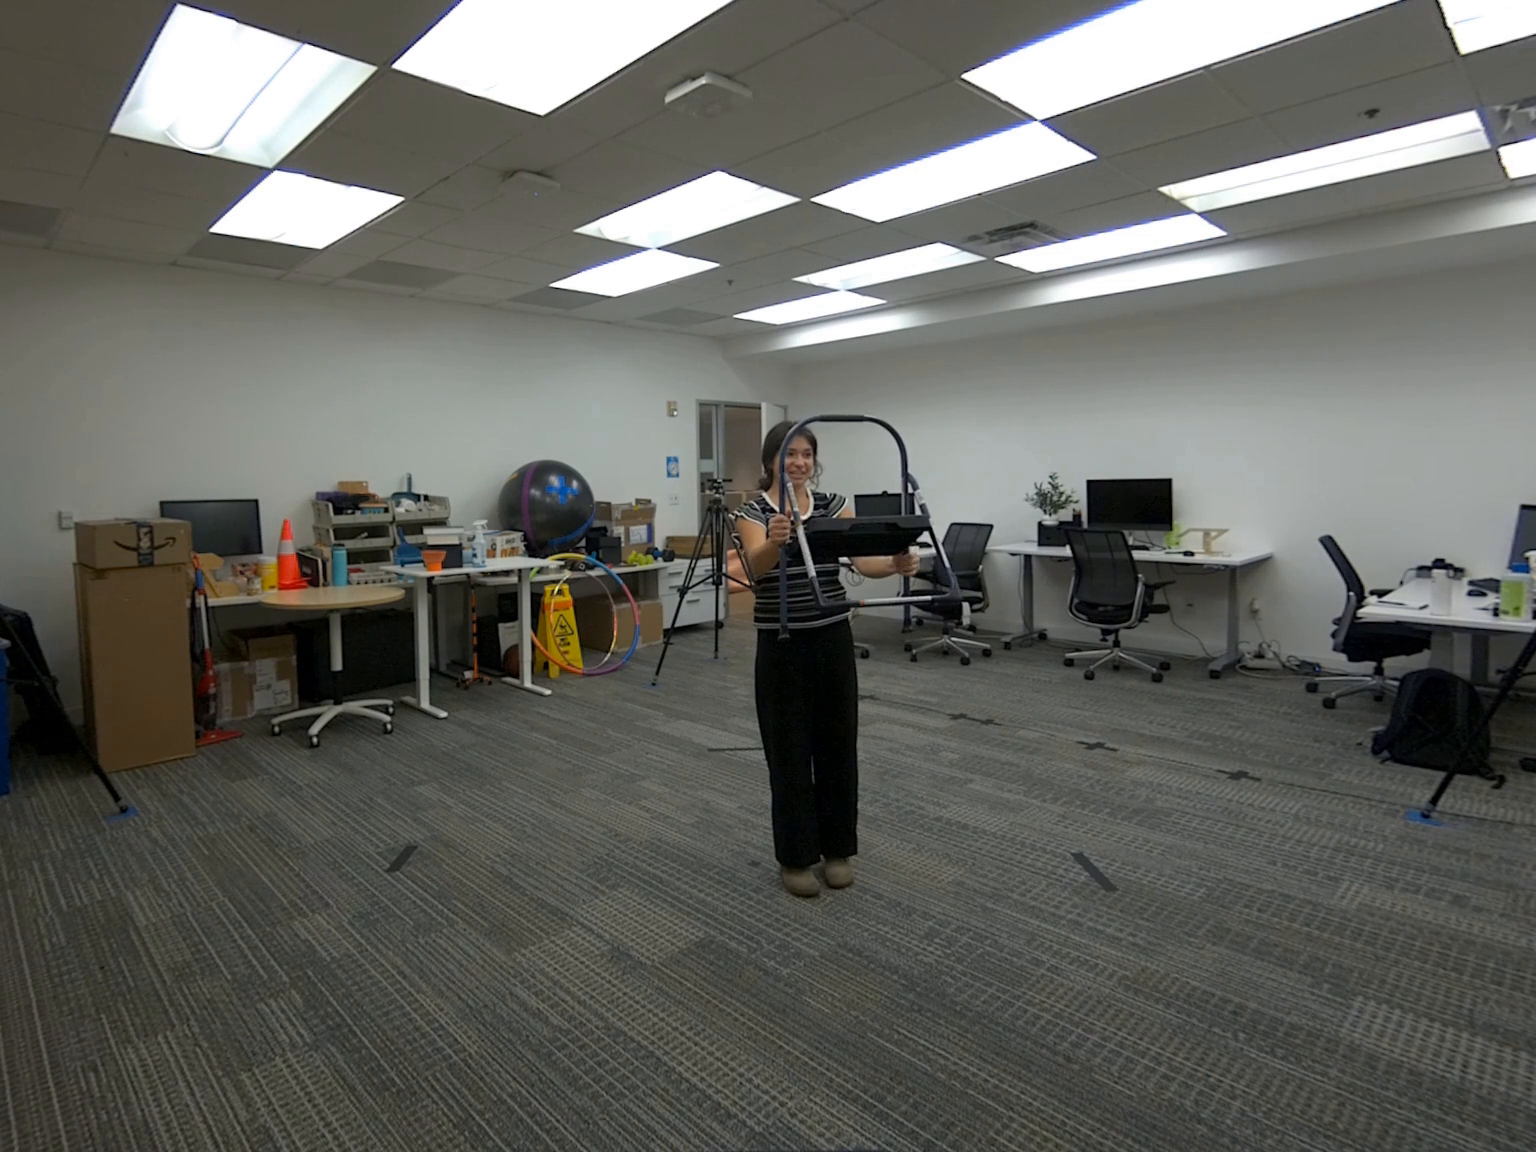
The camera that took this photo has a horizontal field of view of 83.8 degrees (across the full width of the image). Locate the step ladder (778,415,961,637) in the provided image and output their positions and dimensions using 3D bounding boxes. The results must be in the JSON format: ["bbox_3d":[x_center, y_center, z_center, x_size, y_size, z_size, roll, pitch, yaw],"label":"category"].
[{"bbox_3d":[0.234,-0.152,2.474,0.424,0.617,0.348,-1,-19,-17],"label":"step ladder"}]
